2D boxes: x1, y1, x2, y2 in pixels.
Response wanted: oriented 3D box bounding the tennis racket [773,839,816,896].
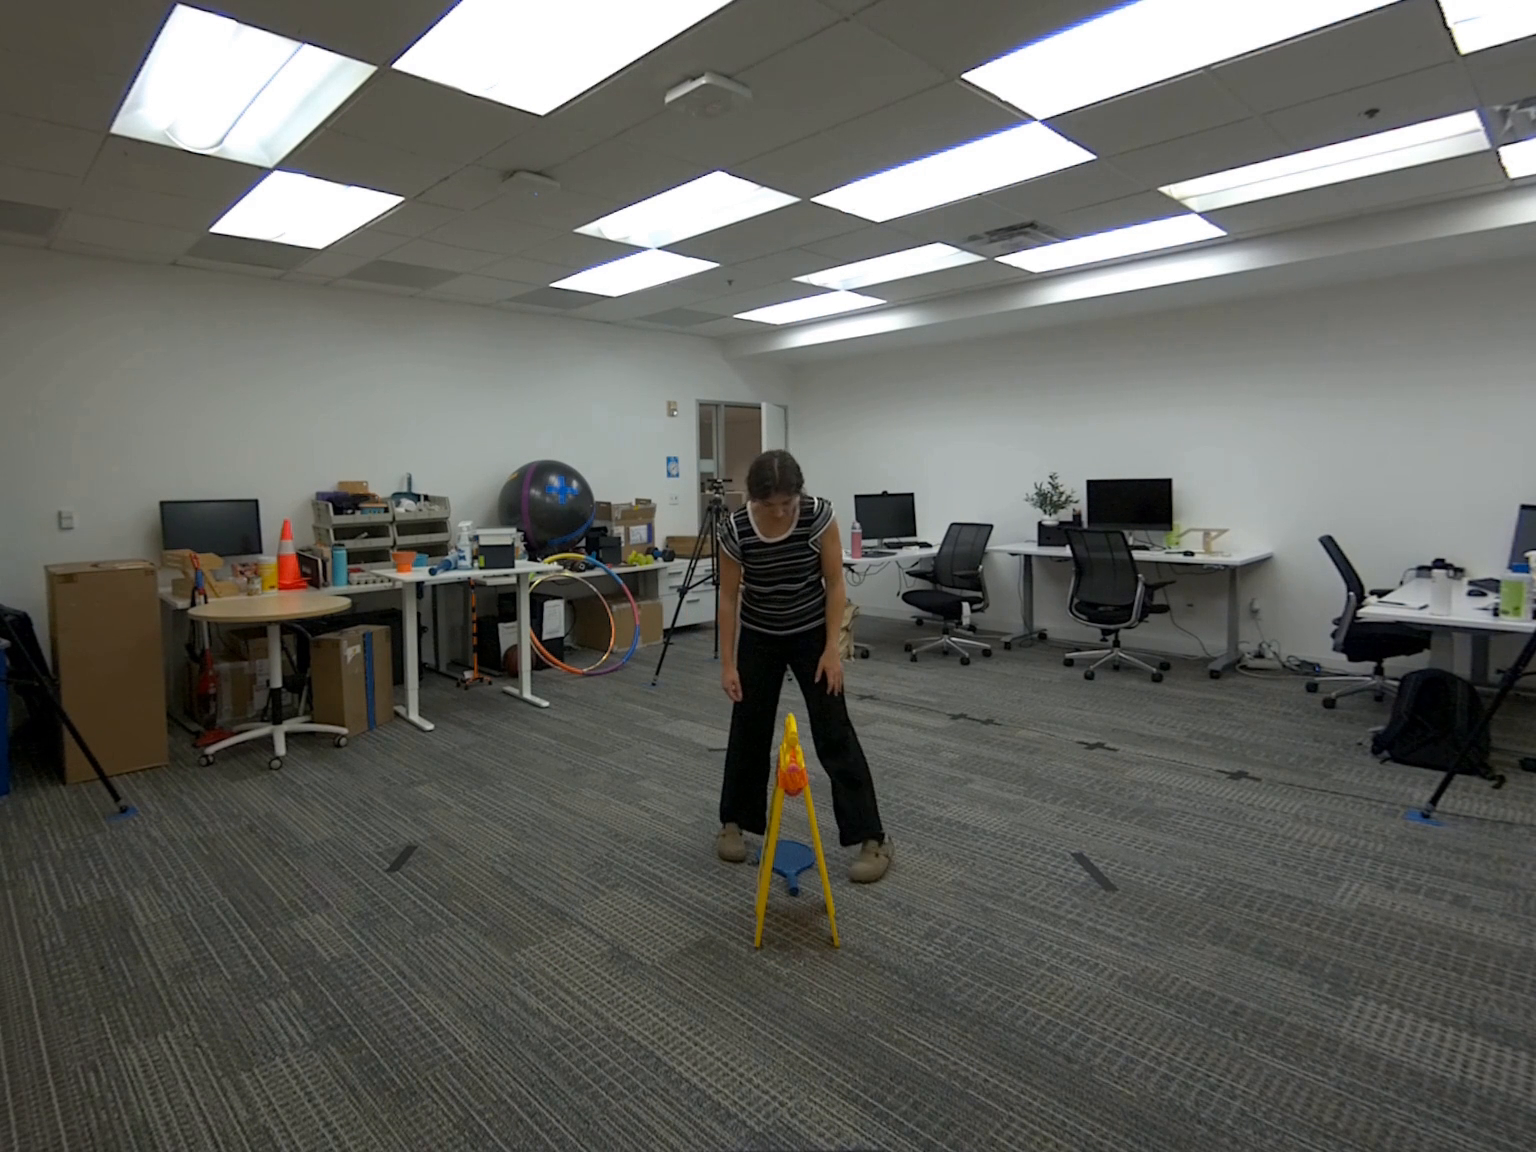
[{"bbox_3d":[0.073,1.031,3.058,0.214,0.032,0.433,0,4,0],"label":"tennis racket"}]
